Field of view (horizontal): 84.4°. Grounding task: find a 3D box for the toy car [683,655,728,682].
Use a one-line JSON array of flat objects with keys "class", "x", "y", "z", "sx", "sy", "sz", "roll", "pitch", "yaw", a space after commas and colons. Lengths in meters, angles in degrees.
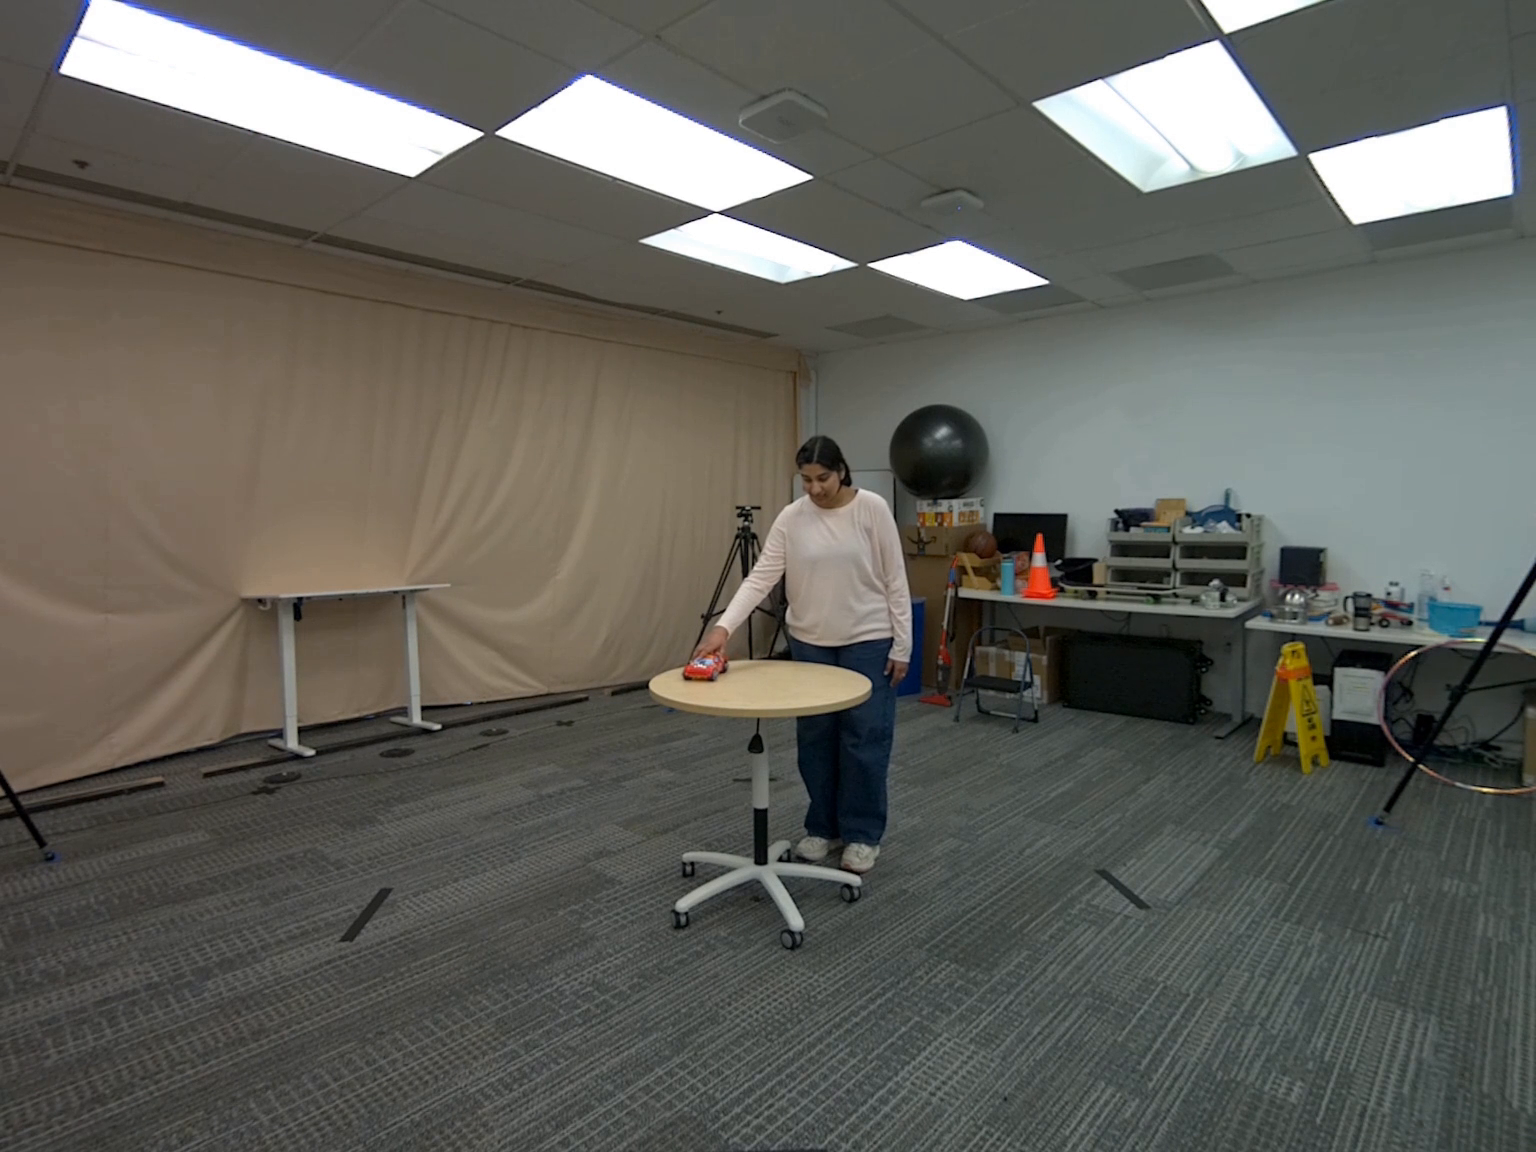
[{"class": "toy car", "x": -0.210, "y": 0.326, "z": 3.040, "sx": 0.132, "sy": 0.082, "sz": 0.253, "roll": -1, "pitch": 16, "yaw": 12}]
